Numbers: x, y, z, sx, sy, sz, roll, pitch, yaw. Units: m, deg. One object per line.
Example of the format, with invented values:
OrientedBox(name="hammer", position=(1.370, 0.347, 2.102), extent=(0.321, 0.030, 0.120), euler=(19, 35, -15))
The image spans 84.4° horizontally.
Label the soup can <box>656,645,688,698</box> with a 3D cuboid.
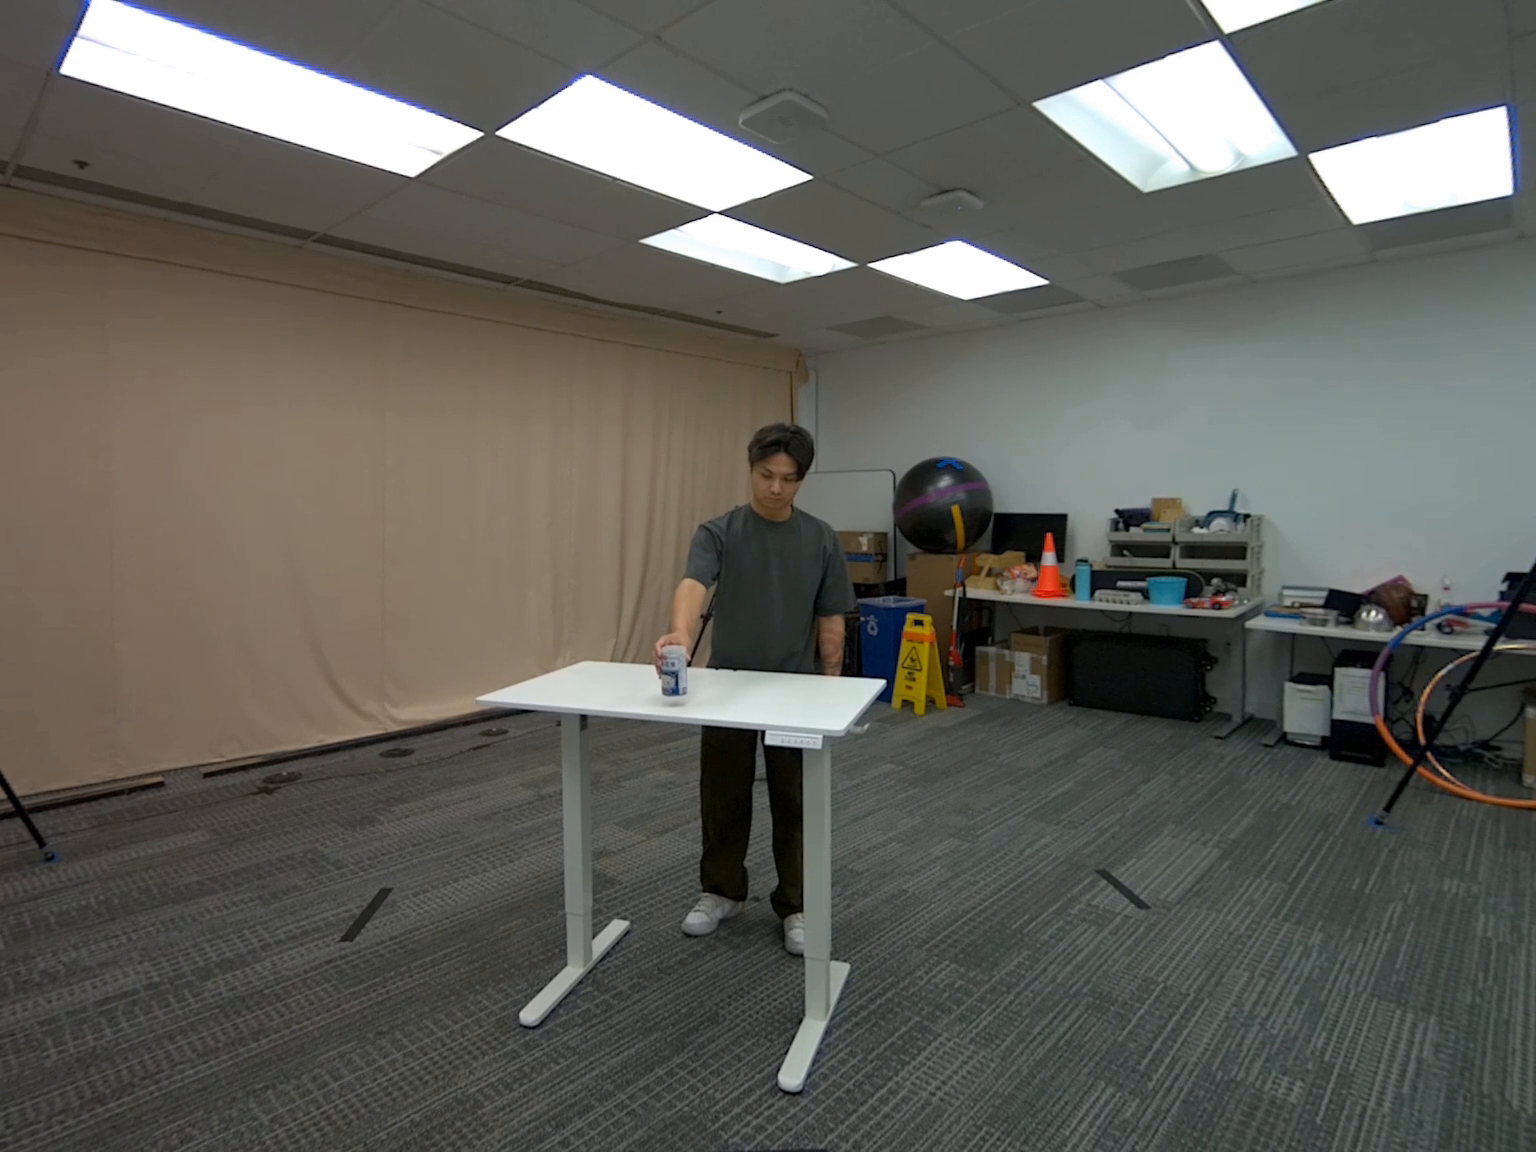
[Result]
OrientedBox(name="soup can", position=(-0.243, 0.244, 2.148), extent=(0.067, 0.121, 0.067), euler=(2, 6, -2))
